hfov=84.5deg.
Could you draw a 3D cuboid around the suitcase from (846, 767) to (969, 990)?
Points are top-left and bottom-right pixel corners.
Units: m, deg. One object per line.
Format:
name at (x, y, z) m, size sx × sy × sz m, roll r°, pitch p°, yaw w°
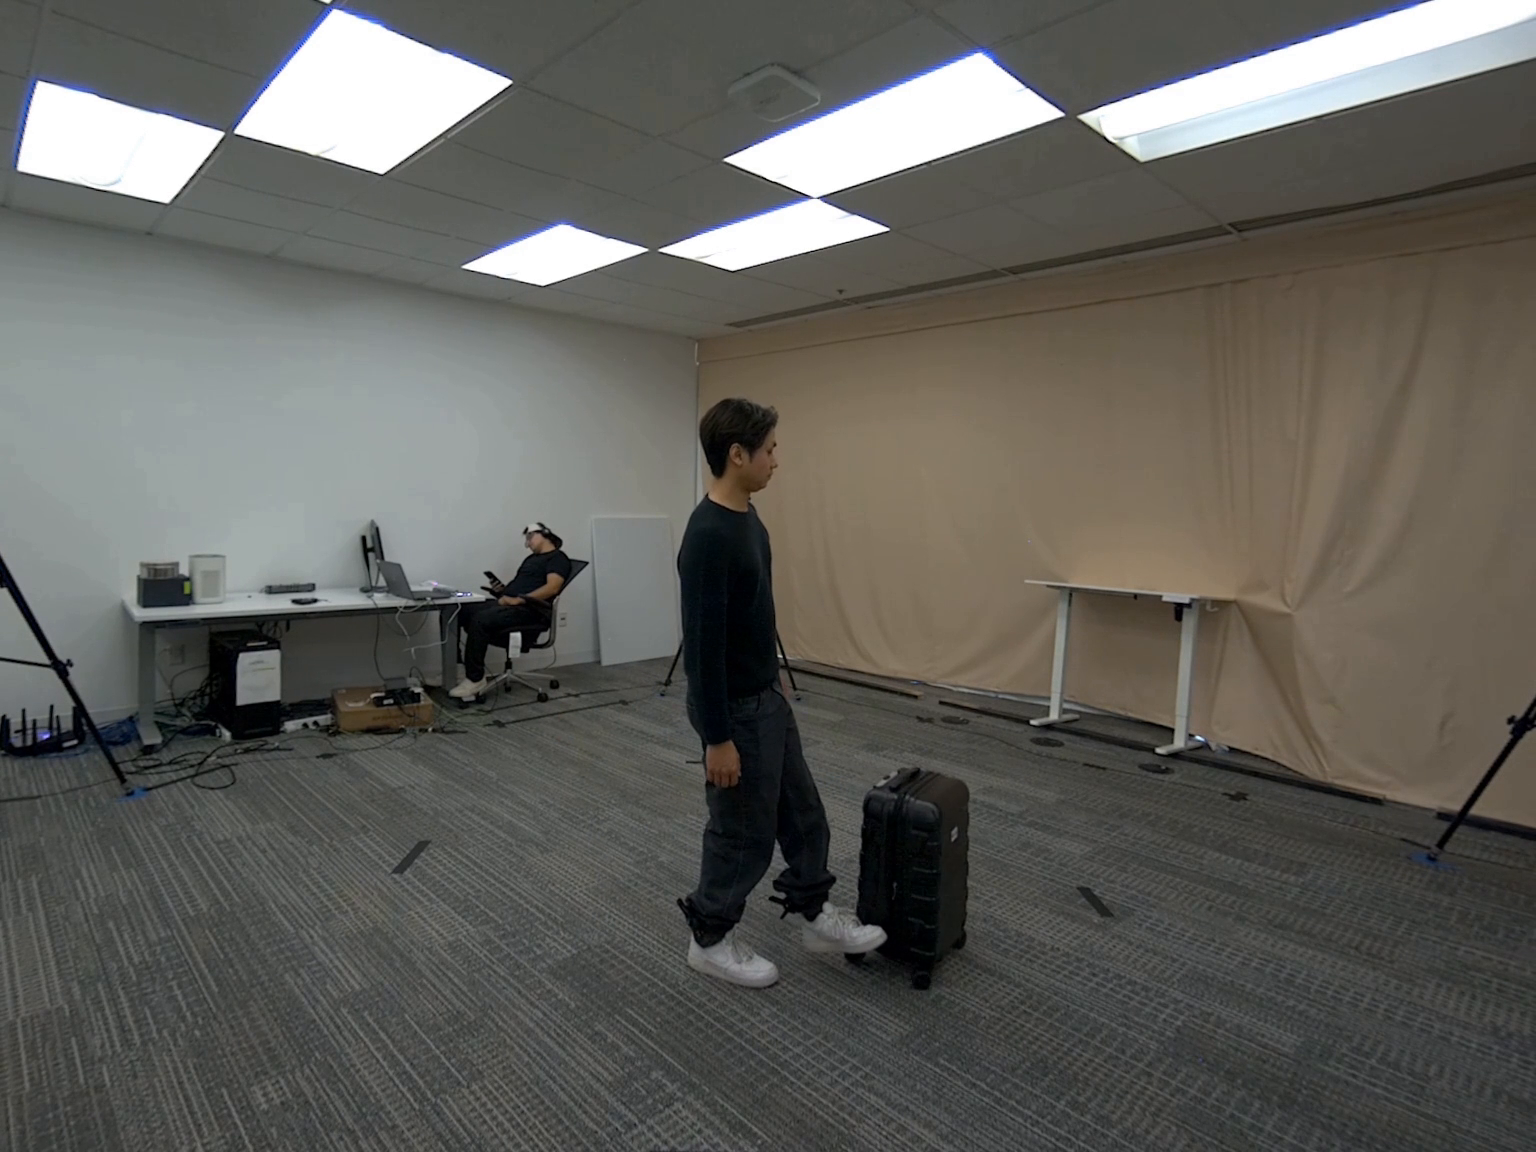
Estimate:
suitcase at (0.448, 0.893, 2.592) m, size 0.254 × 0.548 × 0.367 m, roll 5°, pitch 4°, yaw 32°
